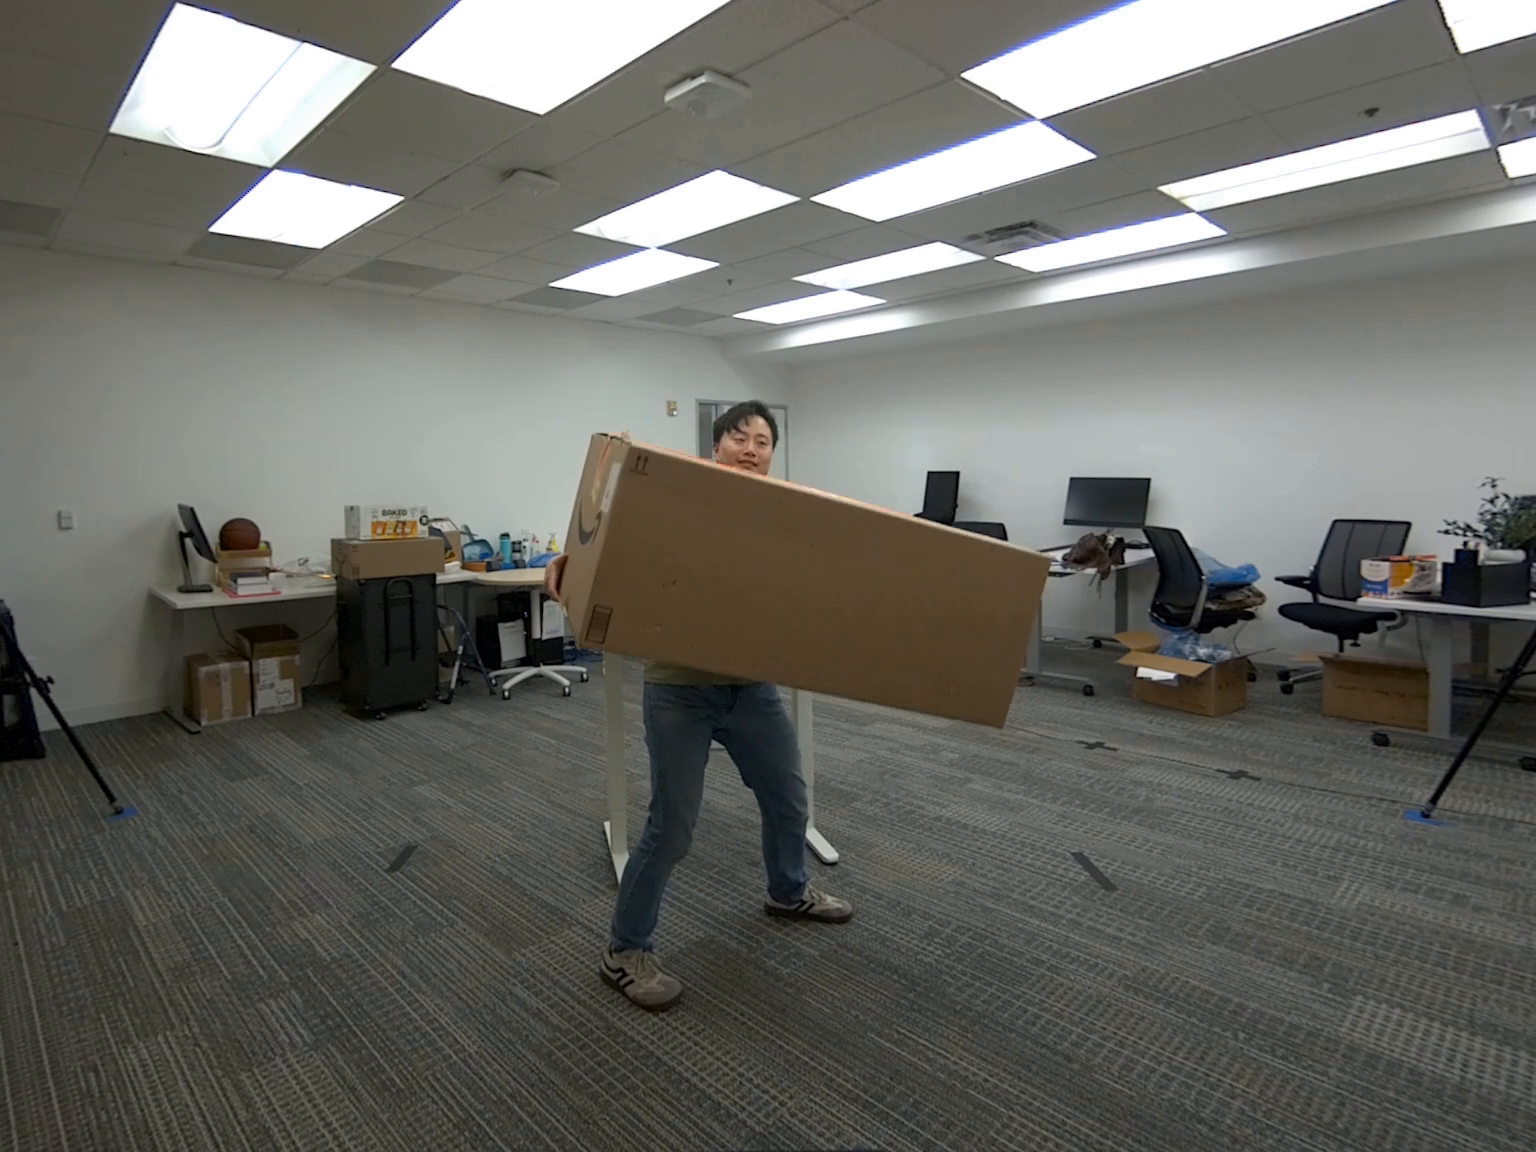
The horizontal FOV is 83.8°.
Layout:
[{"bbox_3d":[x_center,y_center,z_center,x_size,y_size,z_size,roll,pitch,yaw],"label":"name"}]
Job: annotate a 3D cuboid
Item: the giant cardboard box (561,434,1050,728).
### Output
[{"bbox_3d":[0.060,-0.005,2.099,1.005,0.425,0.591,13,5,-18],"label":"giant cardboard box"}]
